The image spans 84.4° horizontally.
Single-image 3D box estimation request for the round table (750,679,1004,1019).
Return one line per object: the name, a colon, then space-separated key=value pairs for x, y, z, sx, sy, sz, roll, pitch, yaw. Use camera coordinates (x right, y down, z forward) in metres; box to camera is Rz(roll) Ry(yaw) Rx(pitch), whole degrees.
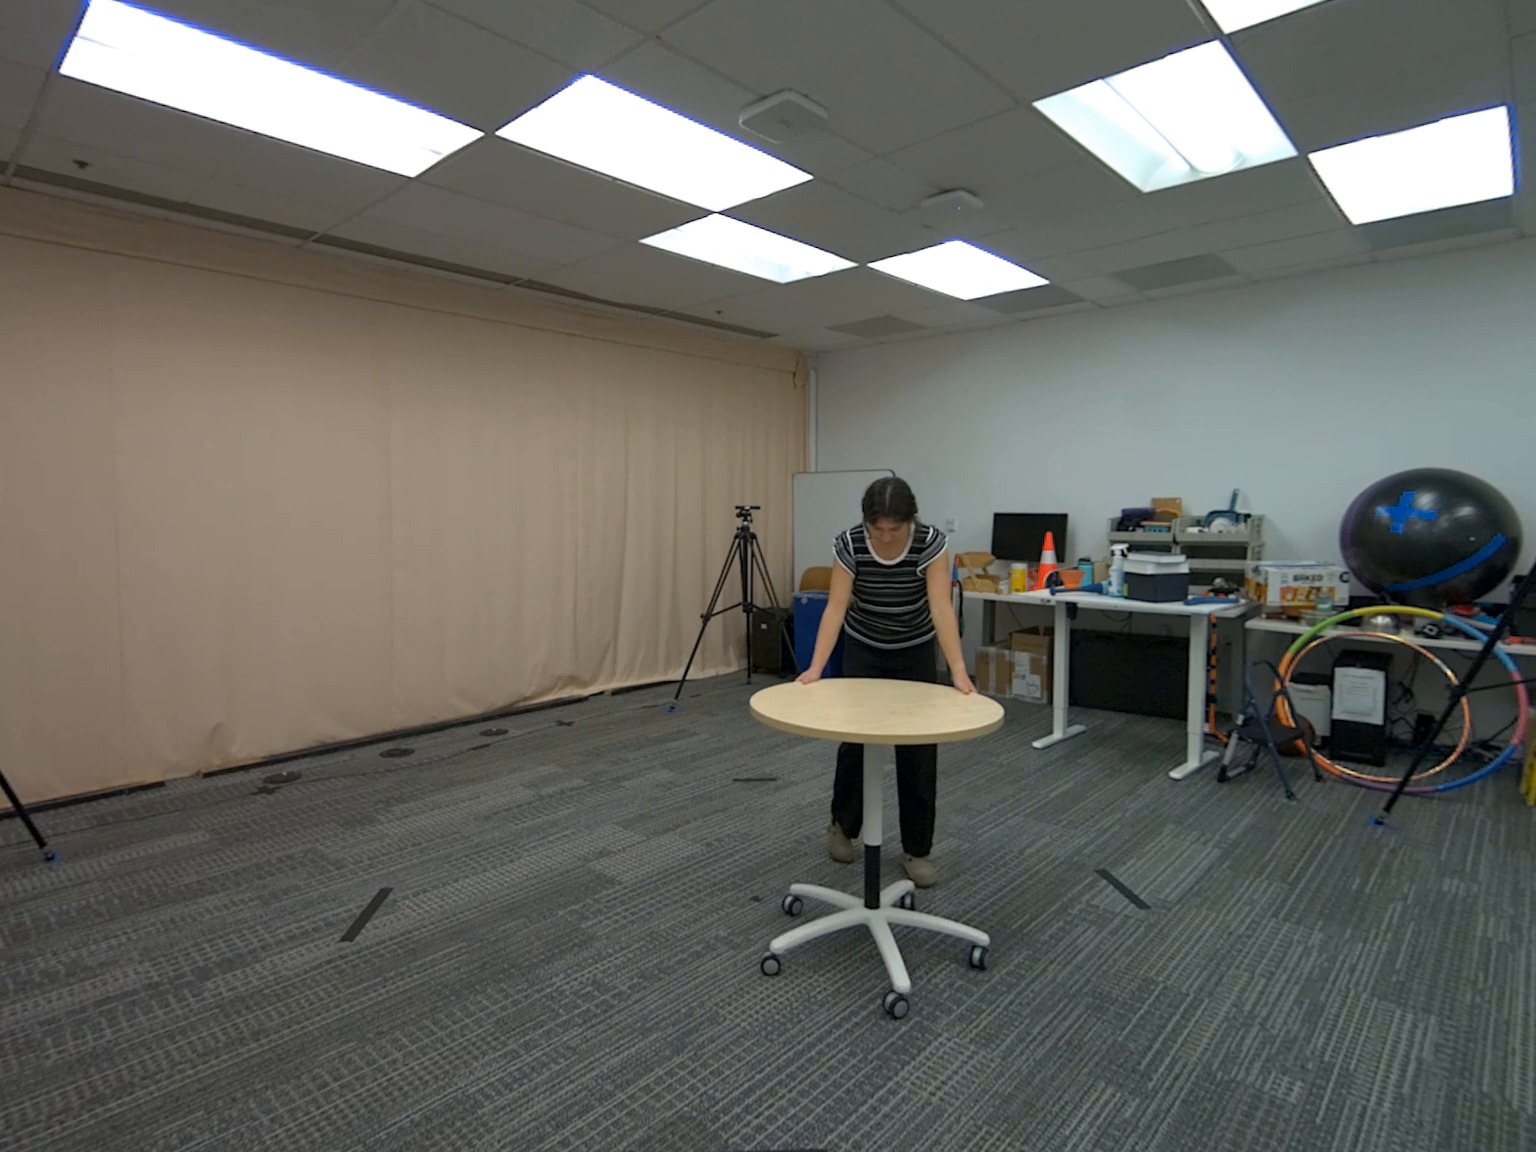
round table: x=0.317 y=0.787 z=2.614 sx=0.763 sy=0.792 sz=0.766 roll=0 pitch=3 yaw=-2
